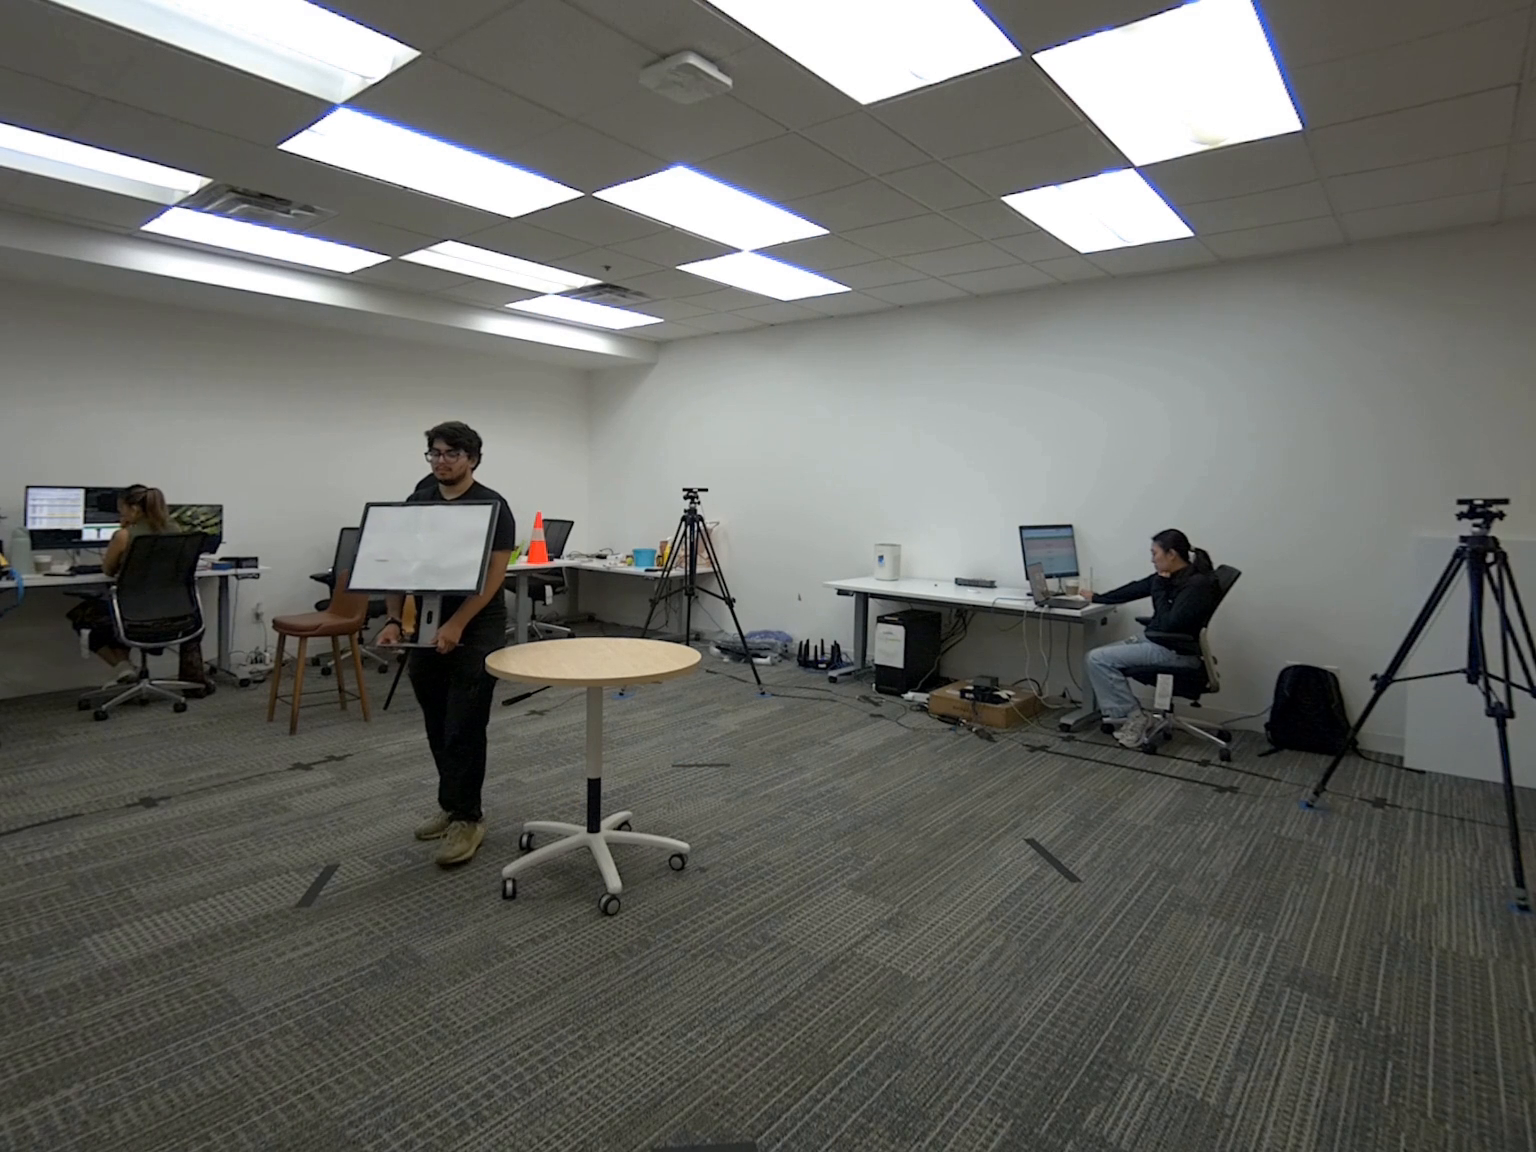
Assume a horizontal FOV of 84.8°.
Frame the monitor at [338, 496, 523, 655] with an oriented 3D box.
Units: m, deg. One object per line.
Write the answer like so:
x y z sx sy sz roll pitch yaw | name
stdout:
-1.264 -0.006 3.169 0.574 0.561 0.204 0 -15 15 | monitor
